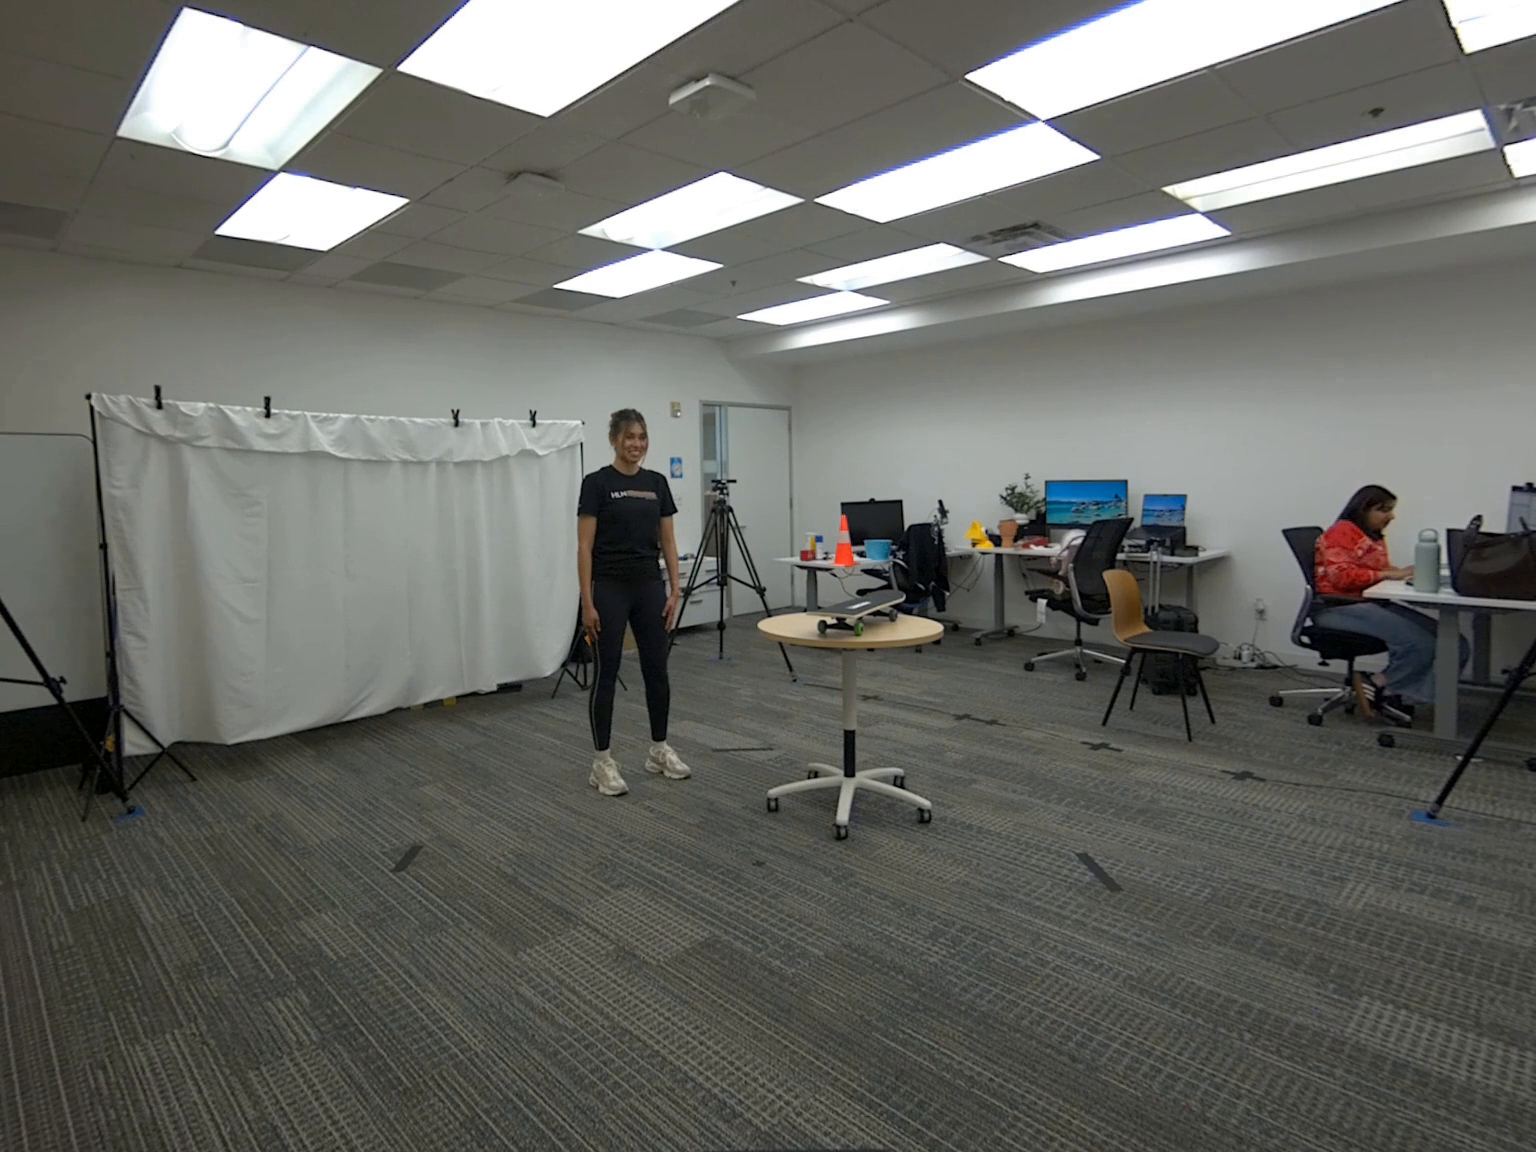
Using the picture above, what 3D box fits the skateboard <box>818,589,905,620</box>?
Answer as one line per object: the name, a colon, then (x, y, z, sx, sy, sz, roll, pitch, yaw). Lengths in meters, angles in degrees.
skateboard: (0.362, 0.159, 3.530, 0.198, 0.110, 0.770, 3, 7, 26)
